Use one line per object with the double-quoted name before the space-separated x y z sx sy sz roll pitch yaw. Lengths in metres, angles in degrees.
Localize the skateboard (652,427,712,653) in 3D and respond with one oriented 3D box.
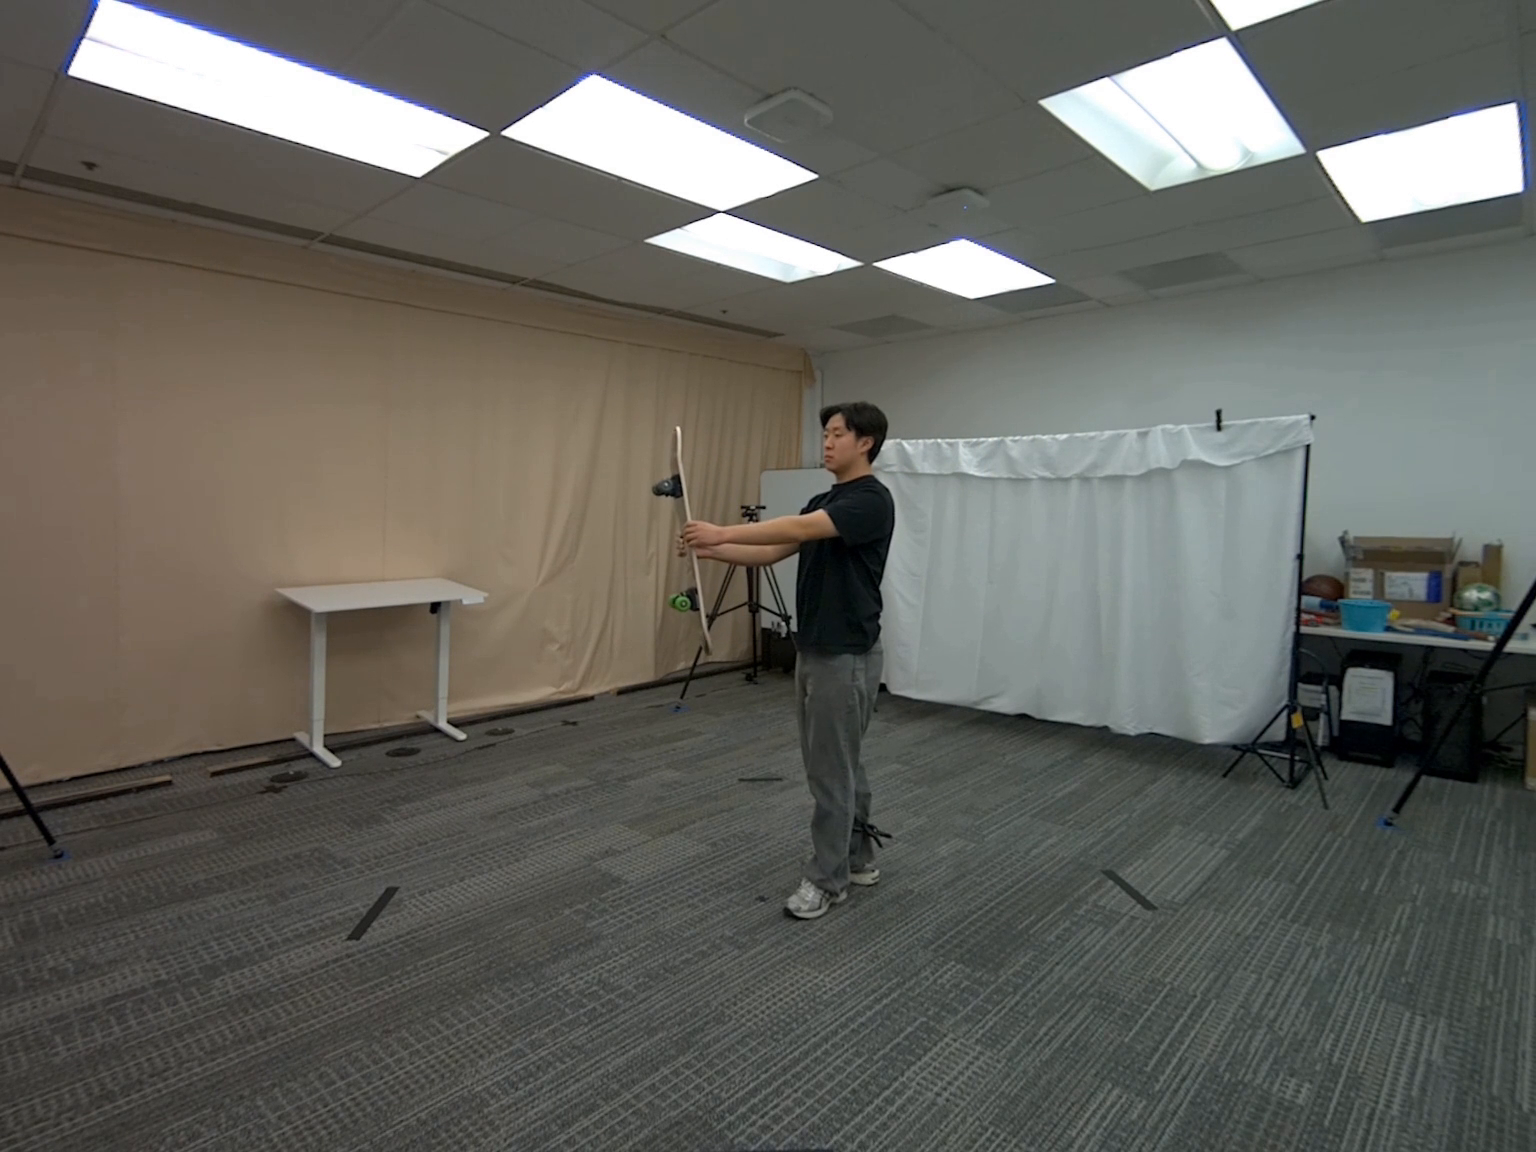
"skateboard" -0.297 -0.107 2.874 0.109 0.785 0.196 -9 0 -14
